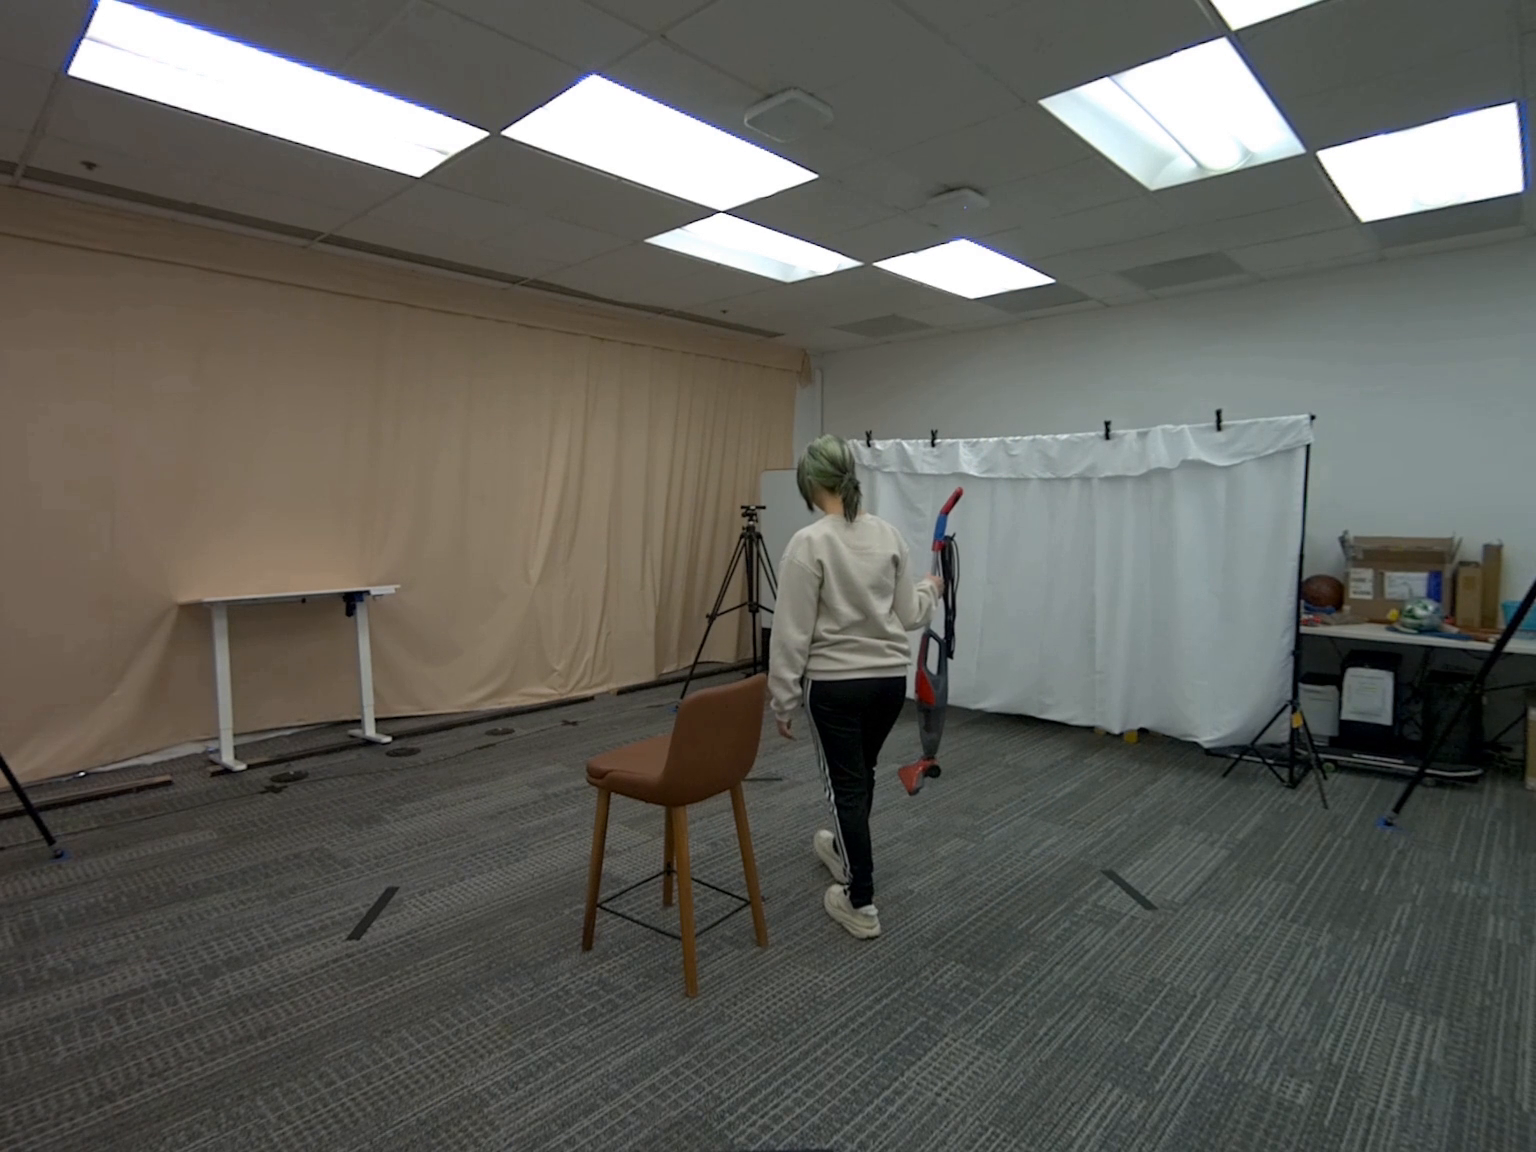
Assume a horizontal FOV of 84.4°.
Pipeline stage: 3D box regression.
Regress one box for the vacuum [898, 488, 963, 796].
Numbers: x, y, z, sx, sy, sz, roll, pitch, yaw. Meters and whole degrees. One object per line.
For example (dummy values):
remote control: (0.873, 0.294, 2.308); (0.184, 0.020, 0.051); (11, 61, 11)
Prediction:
vacuum: (0.640, 0.215, 3.065); (0.145, 1.047, 0.252); (9, 3, 2)
